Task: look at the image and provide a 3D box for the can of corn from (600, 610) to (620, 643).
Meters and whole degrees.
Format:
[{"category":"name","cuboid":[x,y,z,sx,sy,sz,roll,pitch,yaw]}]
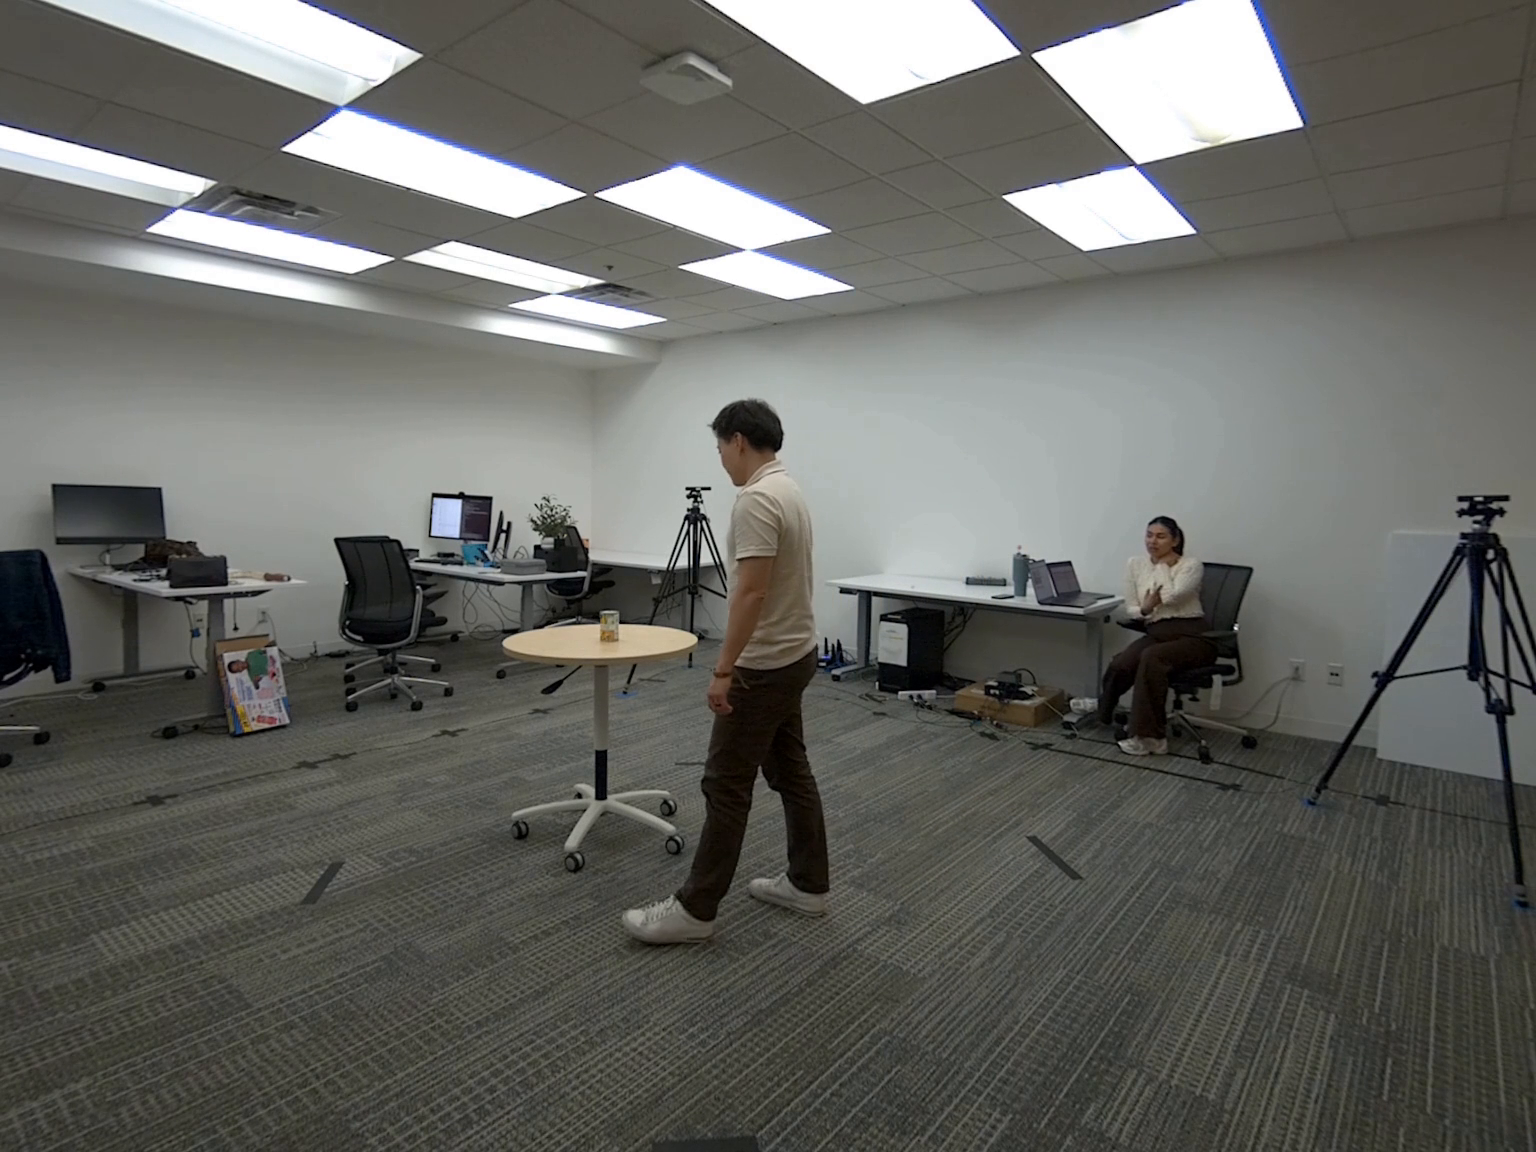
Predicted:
[{"category":"can of corn","cuboid":[-0.641,0.194,3.362,0.074,0.111,0.074,-1,3,-2]}]
